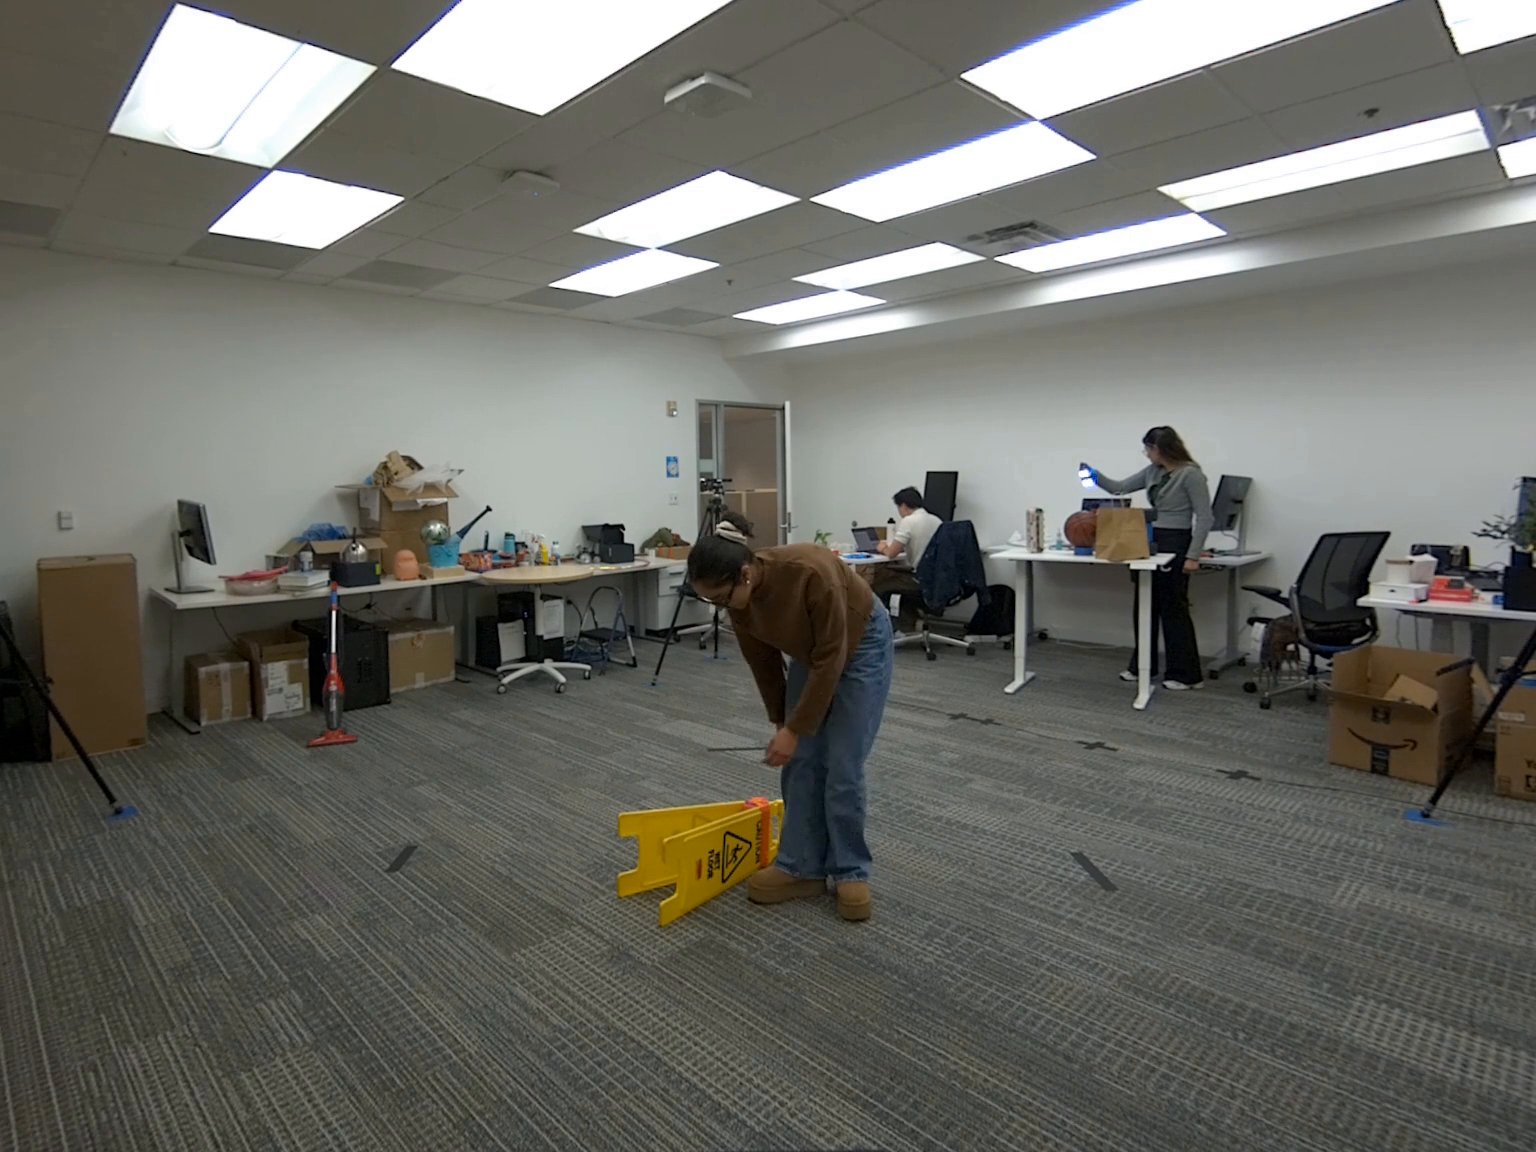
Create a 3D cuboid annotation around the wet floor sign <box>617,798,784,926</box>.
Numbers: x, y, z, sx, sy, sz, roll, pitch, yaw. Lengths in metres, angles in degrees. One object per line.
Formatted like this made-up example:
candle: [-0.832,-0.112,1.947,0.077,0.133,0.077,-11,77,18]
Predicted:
wet floor sign: [-0.178,0.937,2.970,0.628,0.281,0.298,-3,5,-40]
